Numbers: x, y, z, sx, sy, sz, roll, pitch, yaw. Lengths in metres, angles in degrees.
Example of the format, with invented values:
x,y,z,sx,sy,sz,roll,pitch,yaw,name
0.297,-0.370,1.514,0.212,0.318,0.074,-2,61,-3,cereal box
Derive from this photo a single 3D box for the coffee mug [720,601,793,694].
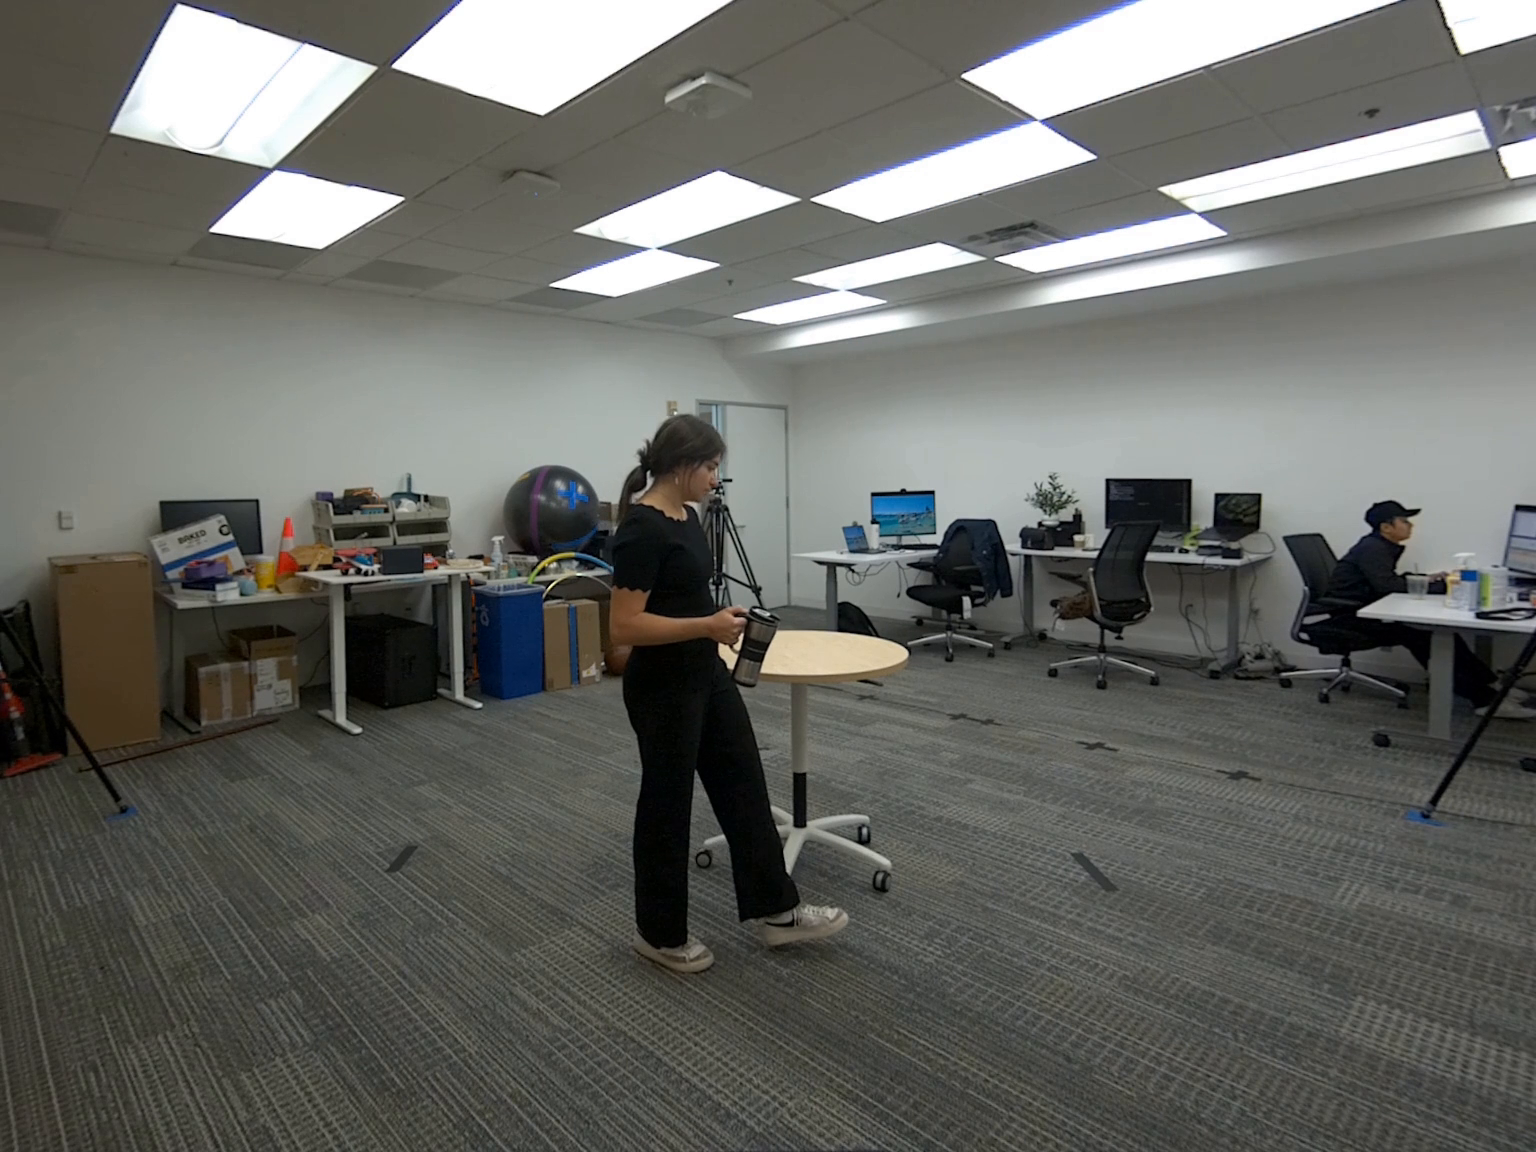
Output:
x,y,z,sx,sy,sz,roll,pitch,yaw,name
-0.040,0.186,2.271,0.085,0.201,0.127,5,19,-46,coffee mug
